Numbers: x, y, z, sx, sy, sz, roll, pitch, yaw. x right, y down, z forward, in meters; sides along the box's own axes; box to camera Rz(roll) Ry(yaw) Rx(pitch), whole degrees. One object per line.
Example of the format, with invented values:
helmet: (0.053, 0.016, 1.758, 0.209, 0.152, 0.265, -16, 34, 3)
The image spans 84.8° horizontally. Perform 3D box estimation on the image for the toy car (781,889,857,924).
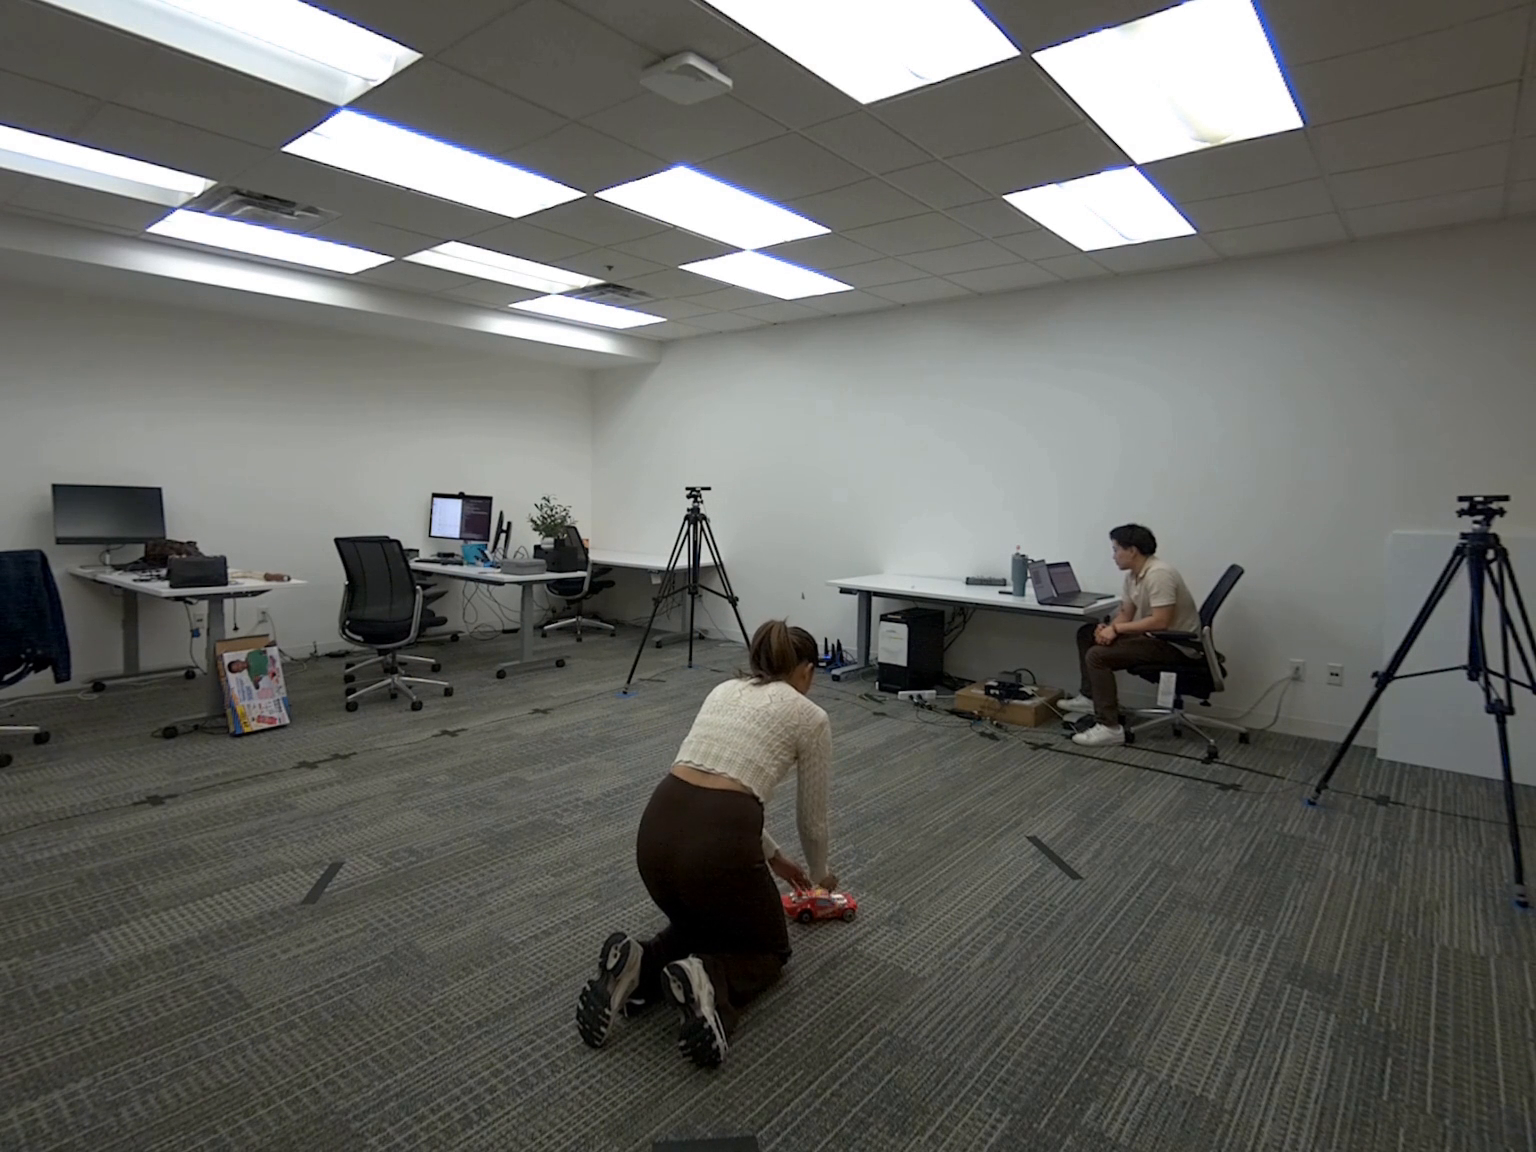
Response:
toy car: (0.158, 1.076, 2.774, 0.252, 0.083, 0.132, 11, 2, -9)
